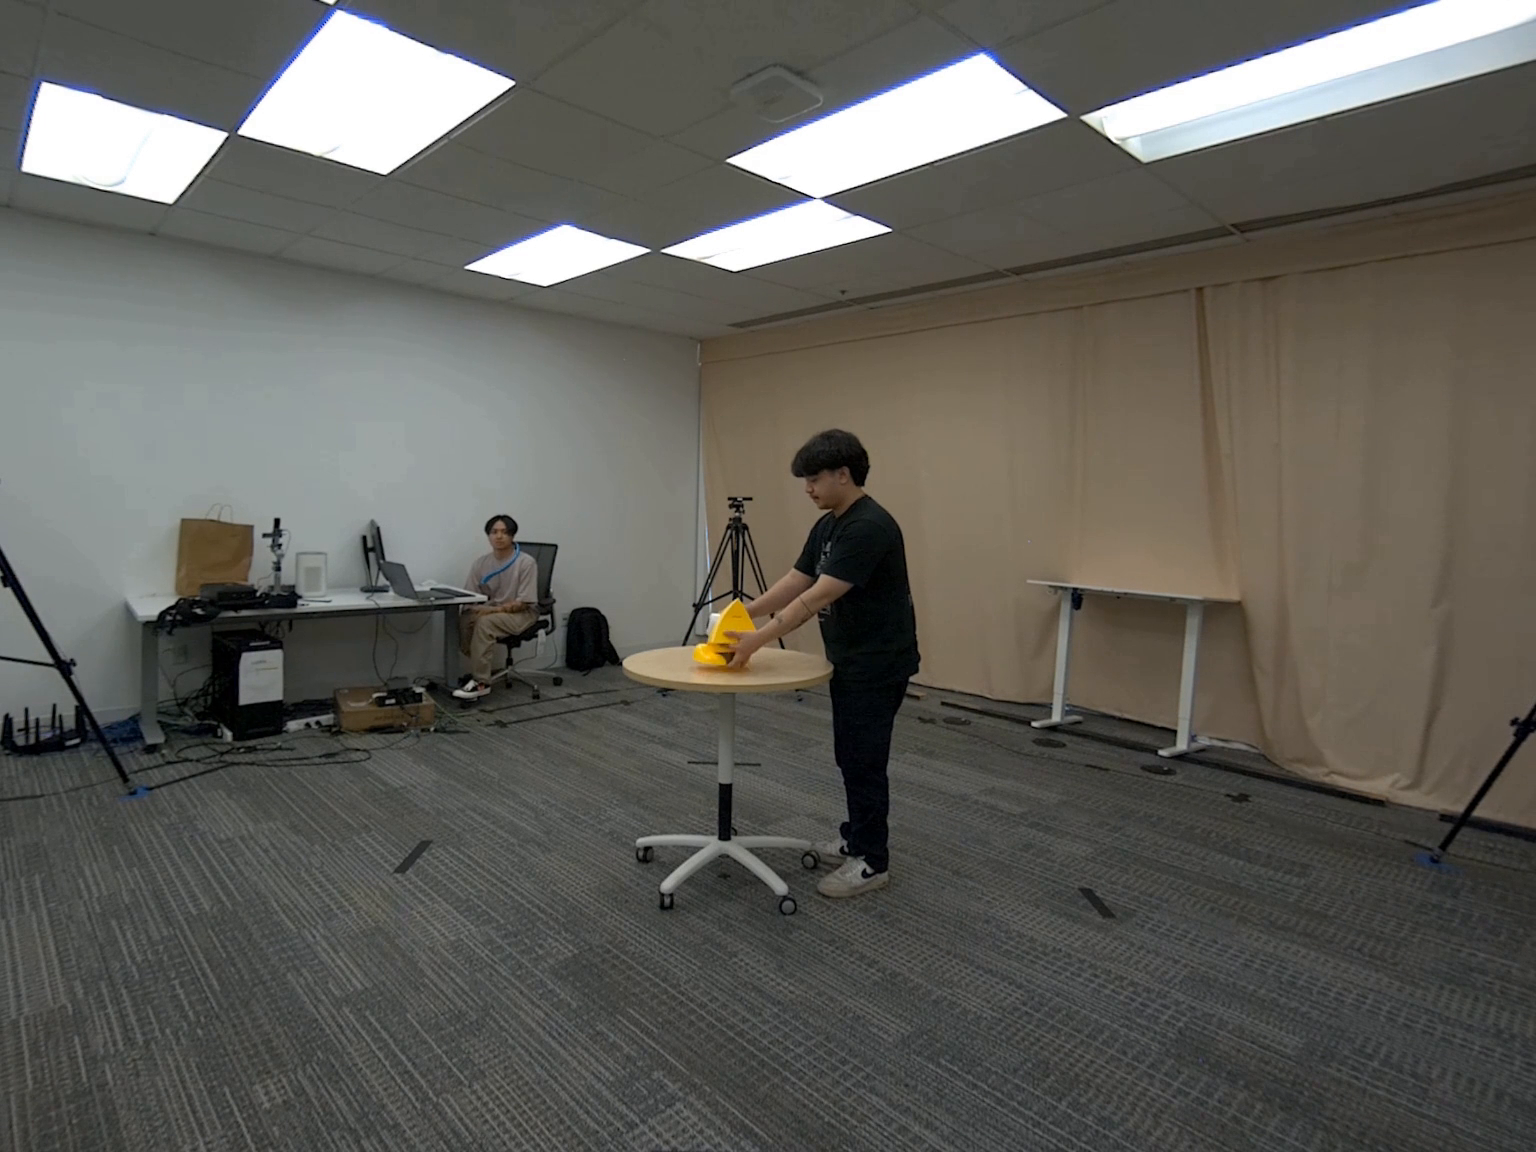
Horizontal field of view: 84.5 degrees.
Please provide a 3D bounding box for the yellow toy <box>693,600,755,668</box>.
[{"bbox_3d":[-0.157,0.187,2.945,0.200,0.230,0.197,3,2,-34],"label":"yellow toy"}]
